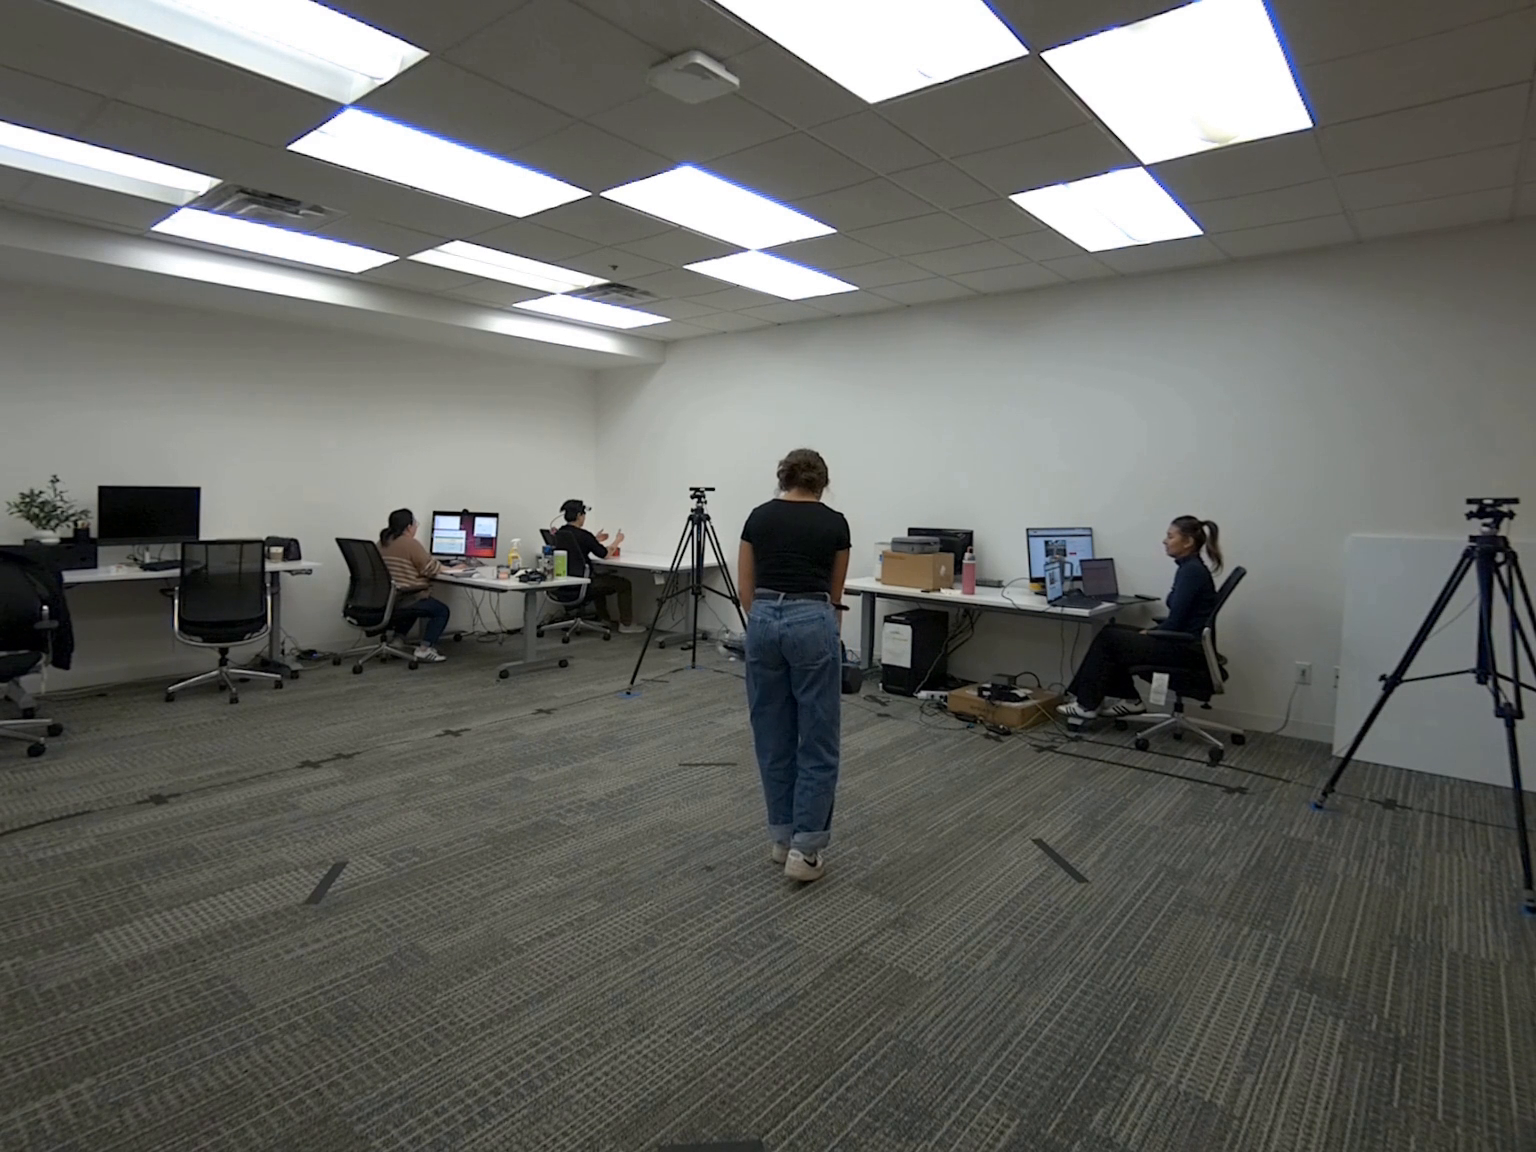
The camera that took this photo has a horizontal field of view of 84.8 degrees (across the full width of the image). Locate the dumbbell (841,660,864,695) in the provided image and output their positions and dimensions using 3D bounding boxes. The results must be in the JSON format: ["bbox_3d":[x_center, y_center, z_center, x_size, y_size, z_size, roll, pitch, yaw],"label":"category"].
[{"bbox_3d":[0.204,0.388,3.256,0.303,0.124,0.104,1,-31,38],"label":"dumbbell"}]
